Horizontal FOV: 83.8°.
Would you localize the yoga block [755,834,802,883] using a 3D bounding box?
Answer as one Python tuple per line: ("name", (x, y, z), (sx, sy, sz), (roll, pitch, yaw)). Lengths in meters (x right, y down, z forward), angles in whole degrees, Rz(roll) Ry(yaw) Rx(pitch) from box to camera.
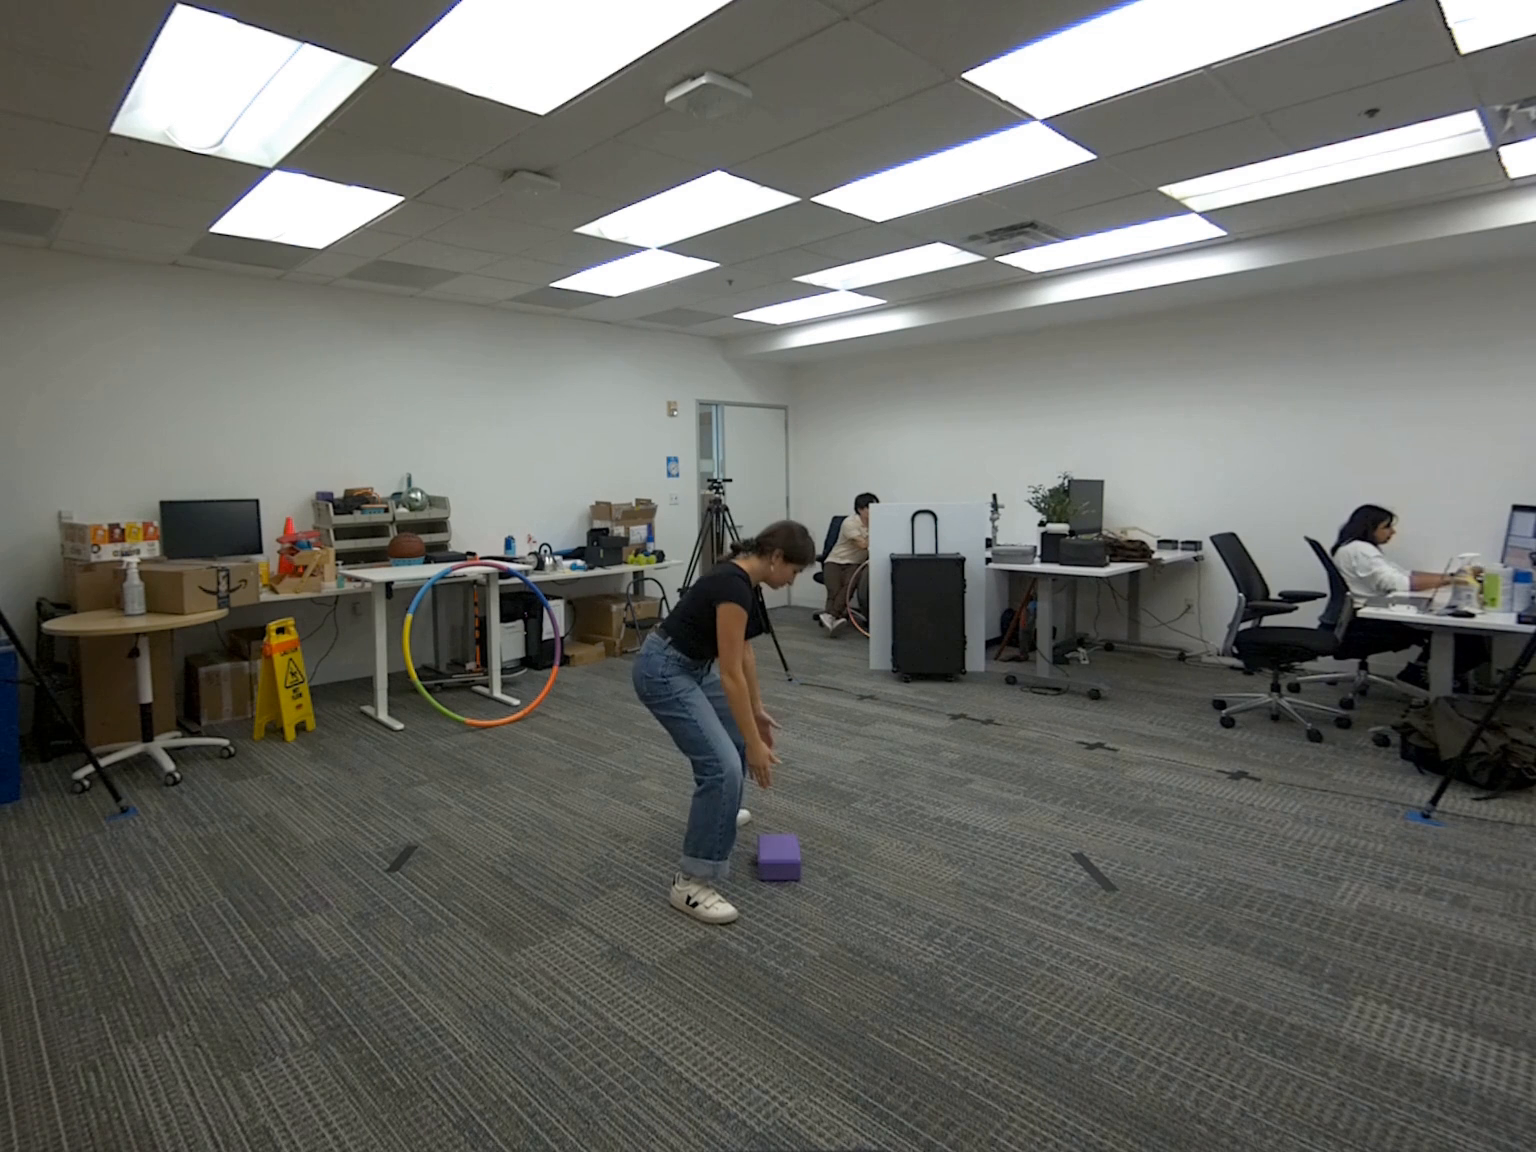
("yoga block", (0.039, 1.008, 3.074), (0.149, 0.076, 0.230), (0, 7, 0))
